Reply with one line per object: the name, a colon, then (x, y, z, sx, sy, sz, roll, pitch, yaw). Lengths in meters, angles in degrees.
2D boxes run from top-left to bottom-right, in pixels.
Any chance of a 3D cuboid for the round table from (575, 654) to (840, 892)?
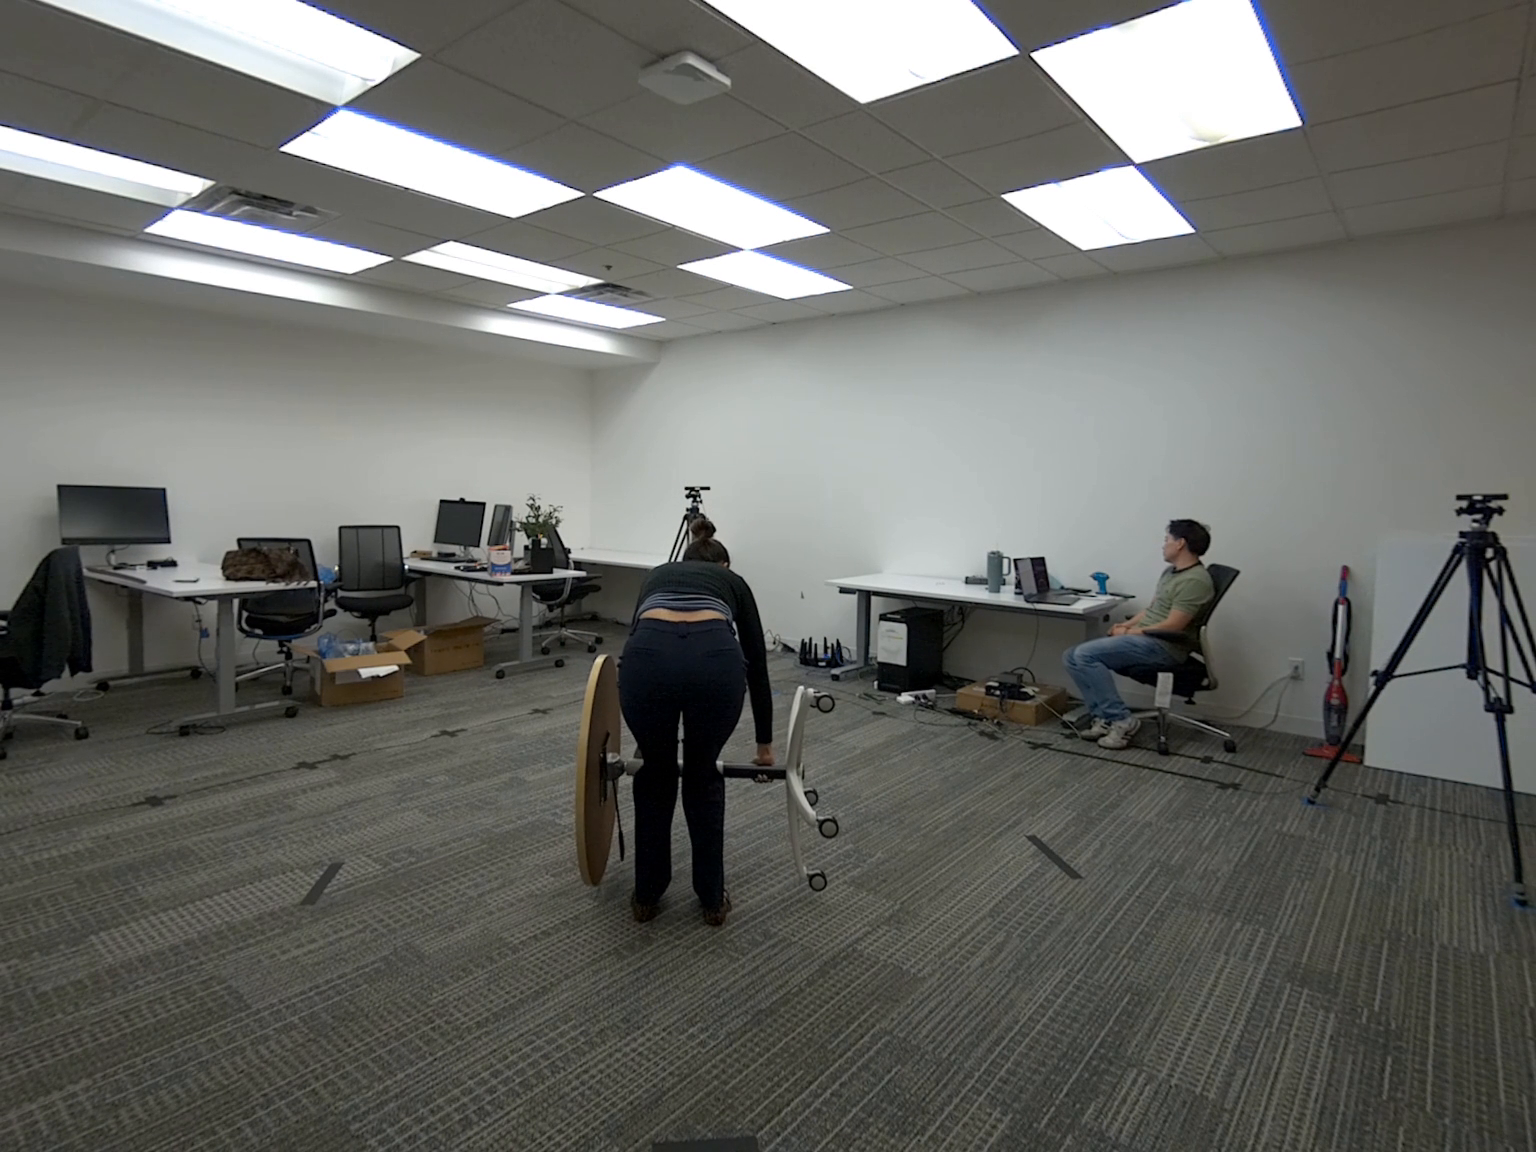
round table: (-0.203, 0.669, 2.936, 0.794, 0.761, 0.767, 1, 4, -1)
